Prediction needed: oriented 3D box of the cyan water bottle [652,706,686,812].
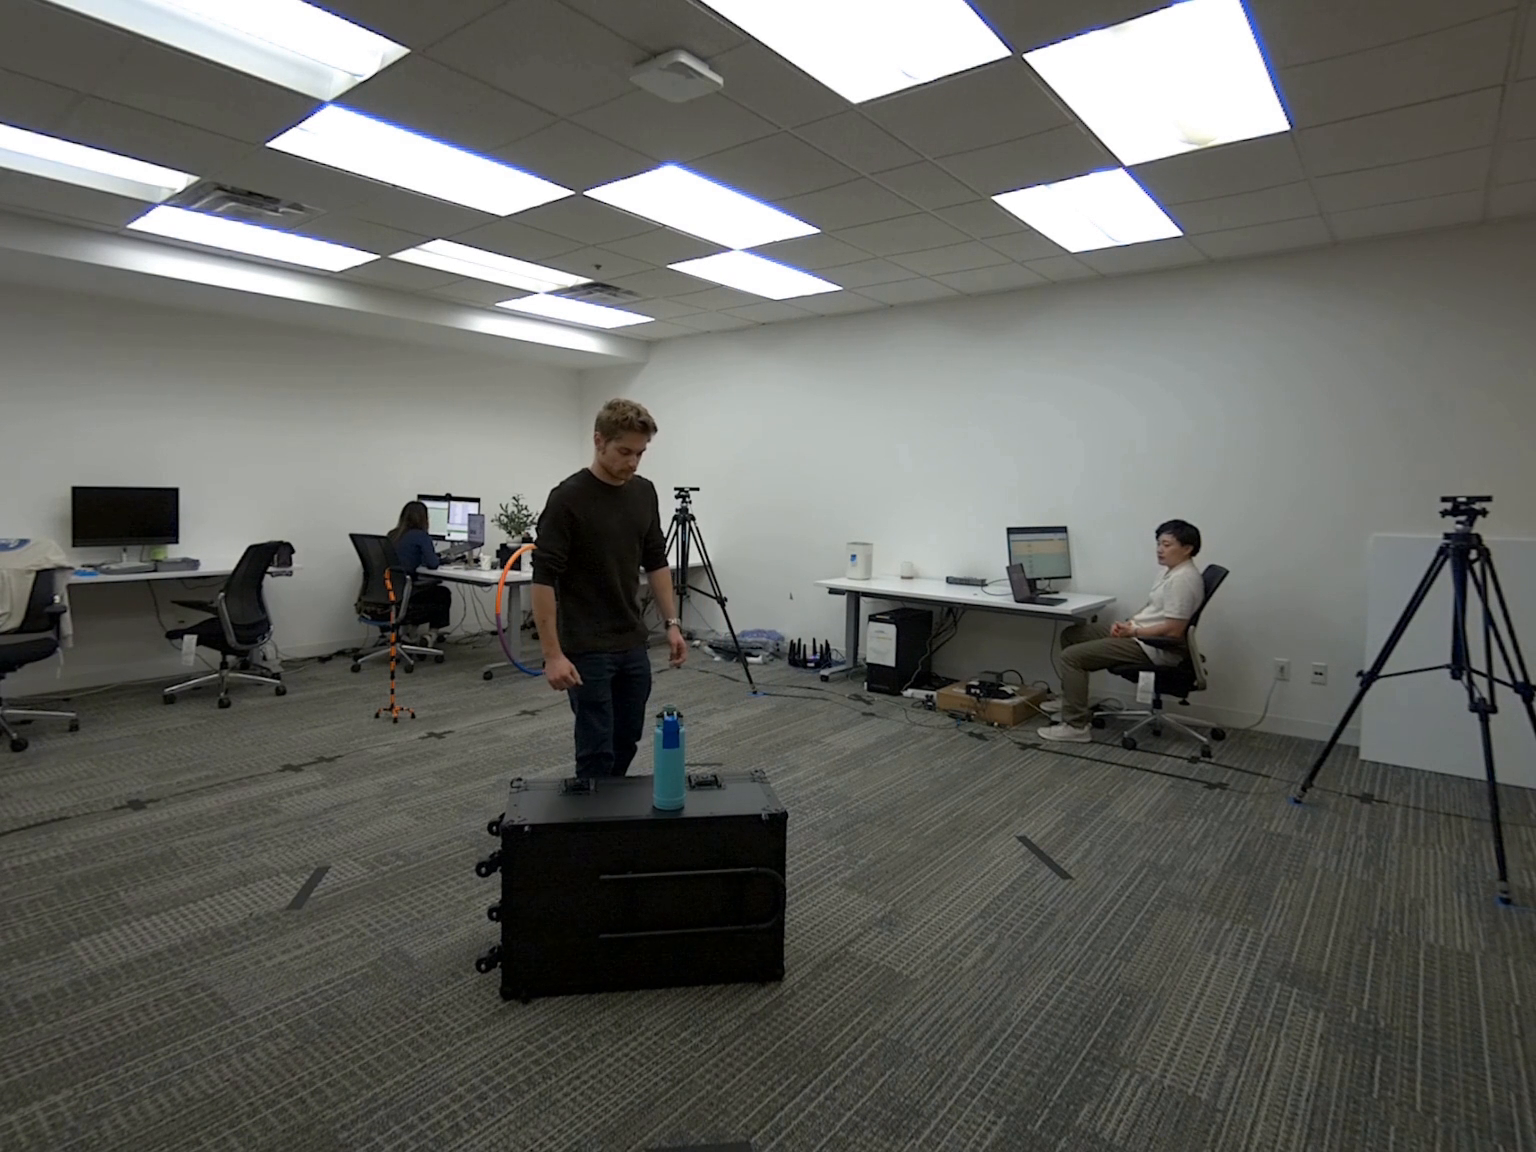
[{"bbox_3d":[-0.287,0.511,2.422,0.092,0.282,0.093,2,5,-2],"label":"cyan water bottle"}]
